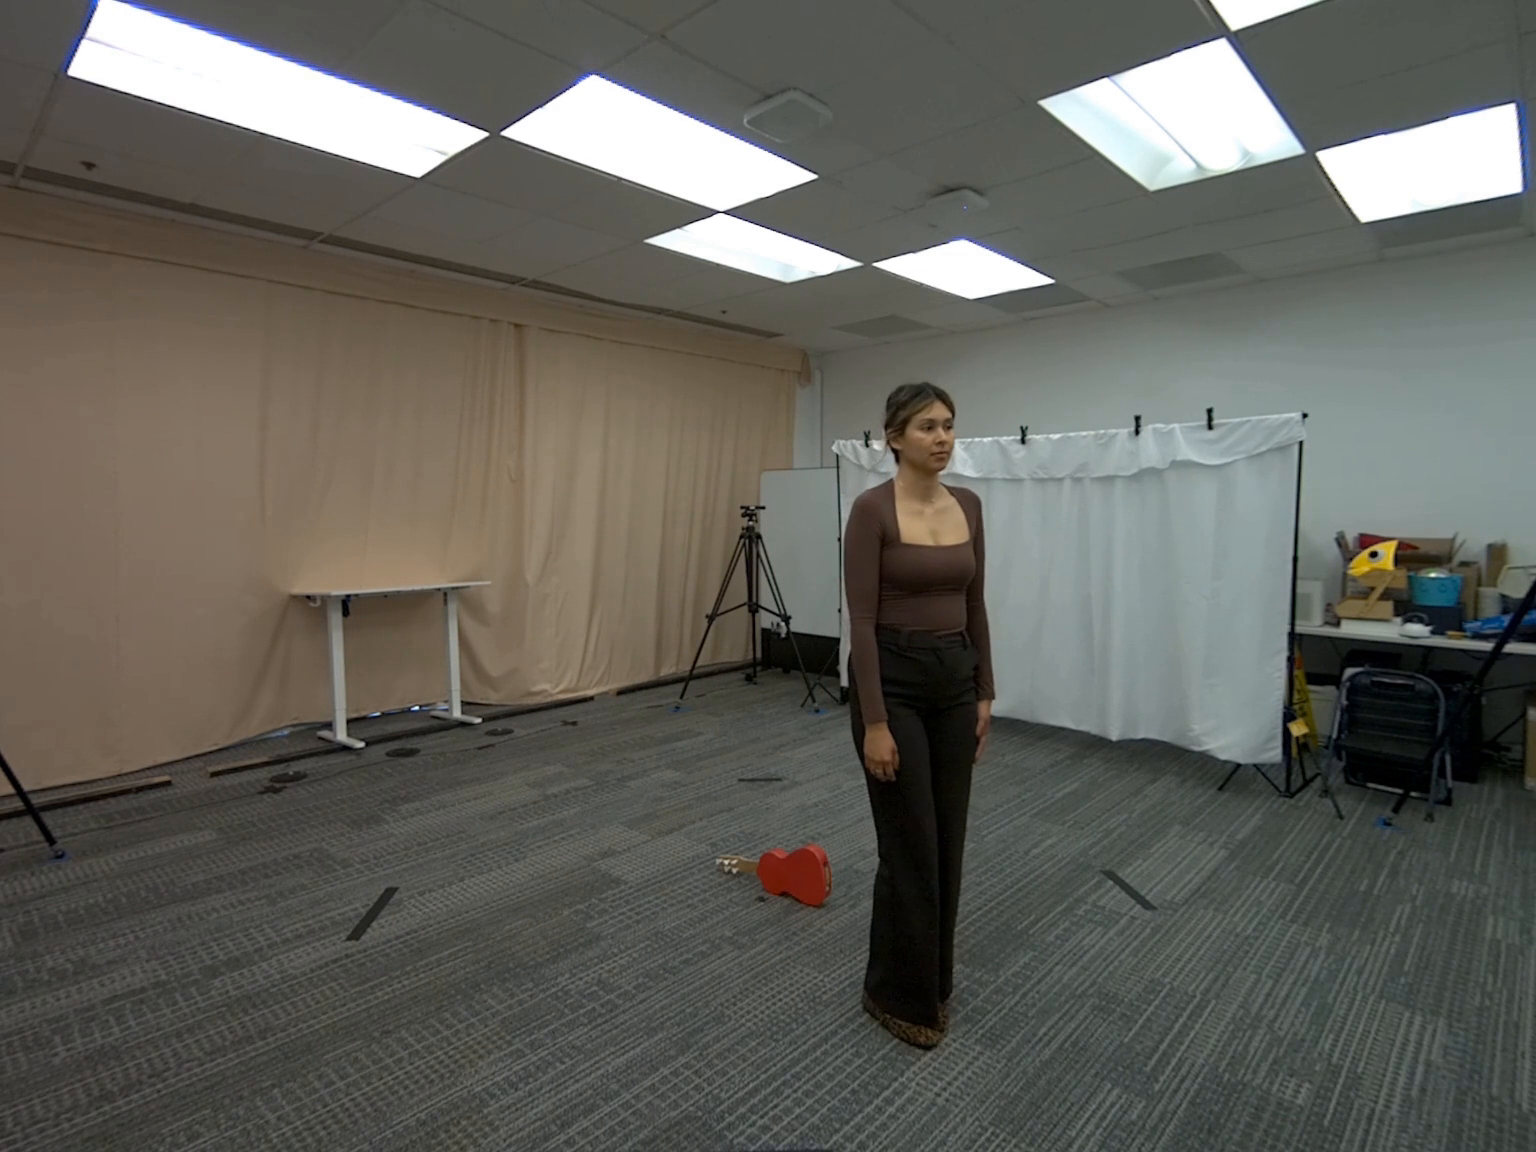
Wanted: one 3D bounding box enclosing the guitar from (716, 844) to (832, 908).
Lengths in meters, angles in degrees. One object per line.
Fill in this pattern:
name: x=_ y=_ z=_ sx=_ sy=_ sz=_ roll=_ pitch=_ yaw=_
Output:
guitar: x=0.012 y=1.095 z=3.061 sx=0.509 sy=0.194 sz=0.068 roll=-19 pitch=-9 yaw=35
